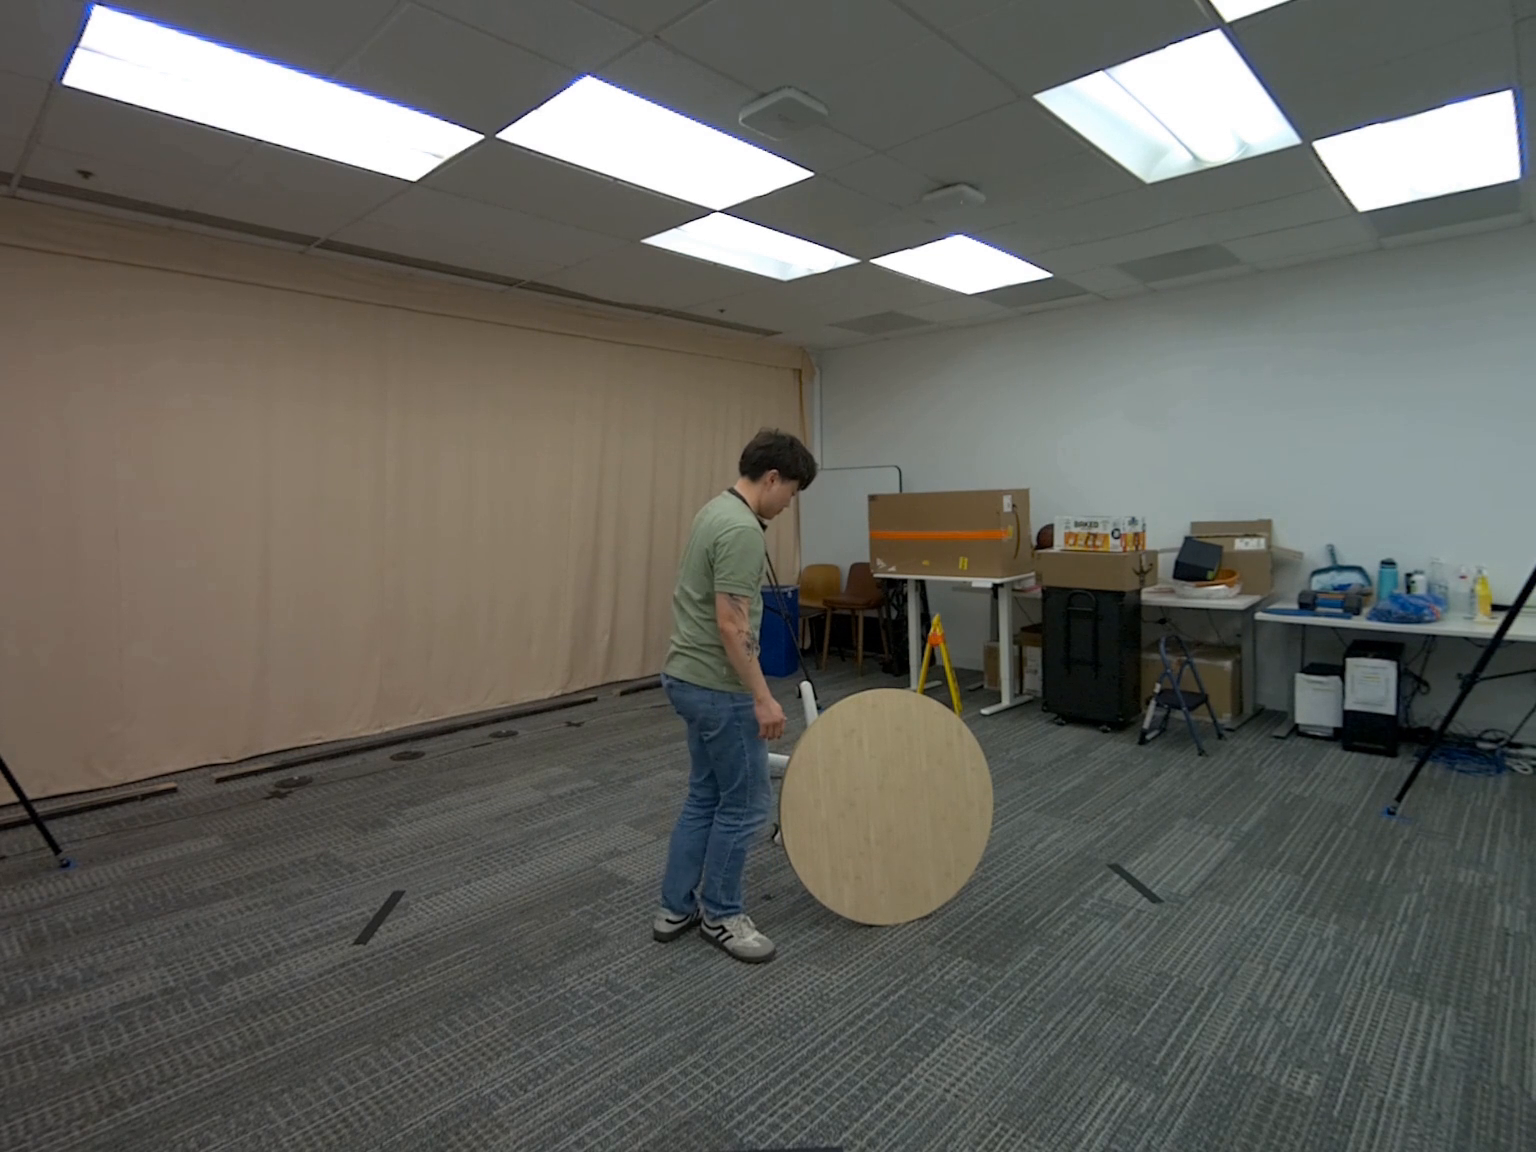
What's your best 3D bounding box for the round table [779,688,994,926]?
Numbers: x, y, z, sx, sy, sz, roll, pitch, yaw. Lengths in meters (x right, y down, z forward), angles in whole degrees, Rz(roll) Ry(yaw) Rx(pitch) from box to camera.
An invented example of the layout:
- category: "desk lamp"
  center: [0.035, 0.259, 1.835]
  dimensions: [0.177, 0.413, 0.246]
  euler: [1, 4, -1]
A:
- category: "round table"
  center: [0.300, 0.780, 3.184]
  dimensions: [0.752, 0.765, 0.805]
  euler: [-2, -2, -16]
